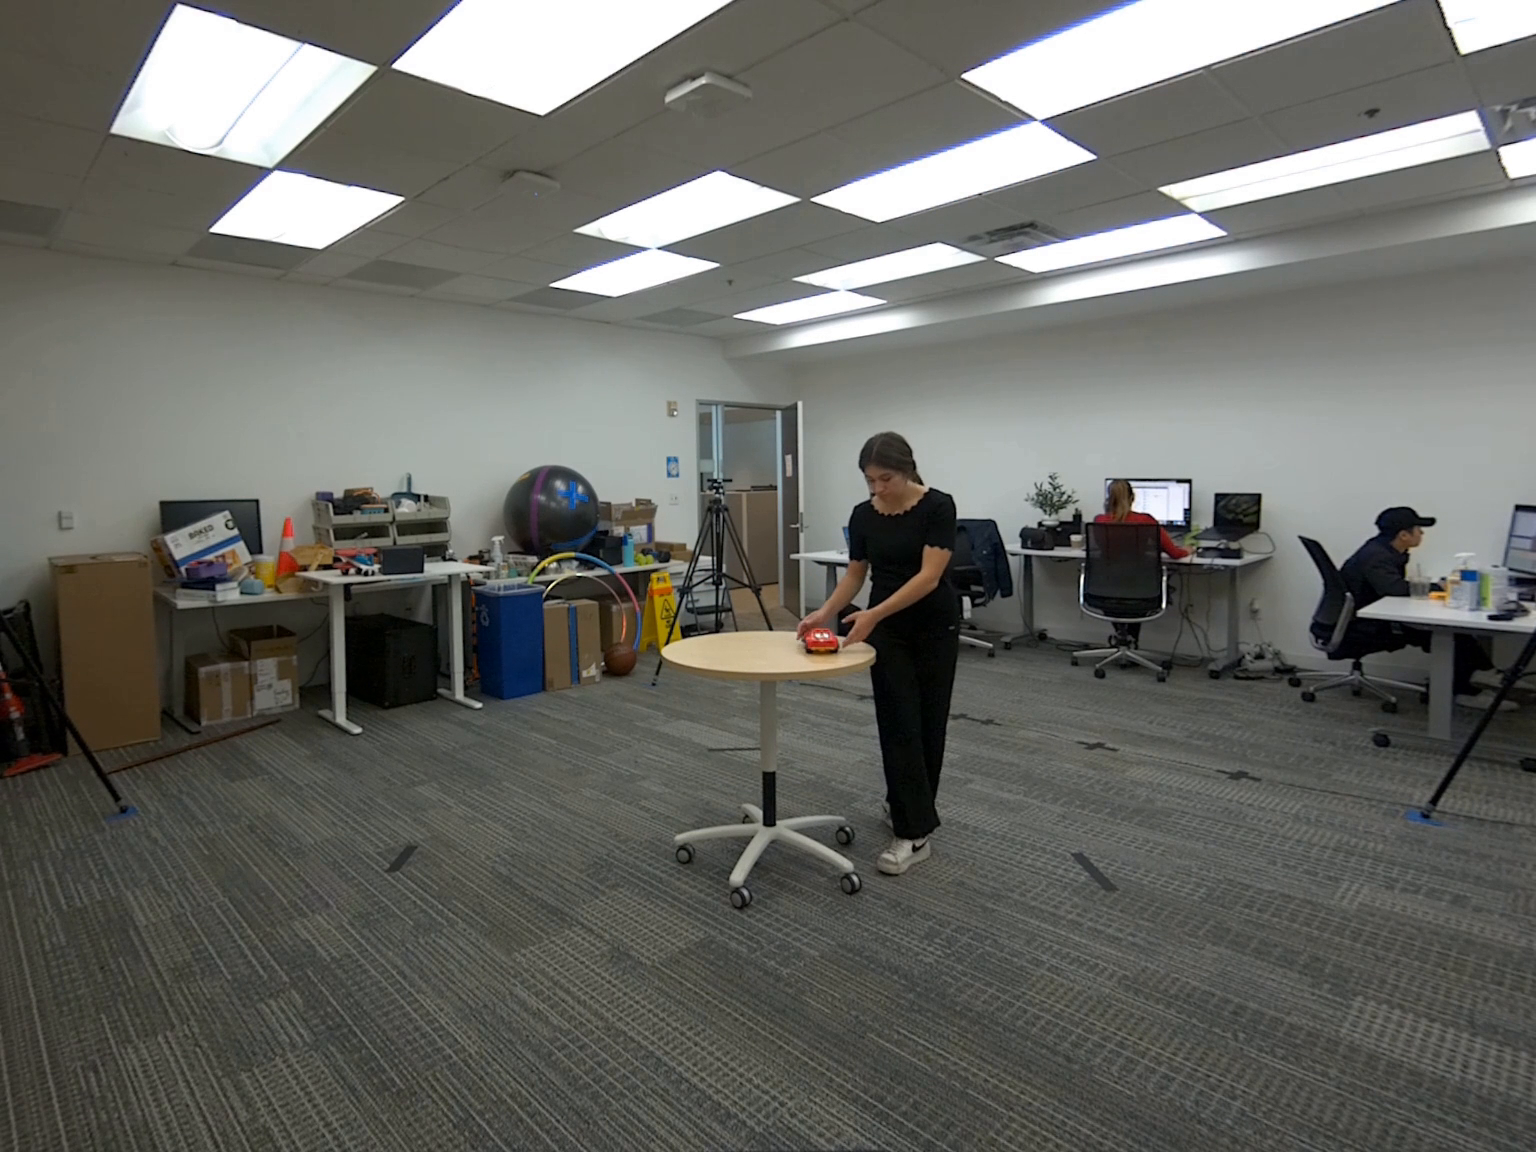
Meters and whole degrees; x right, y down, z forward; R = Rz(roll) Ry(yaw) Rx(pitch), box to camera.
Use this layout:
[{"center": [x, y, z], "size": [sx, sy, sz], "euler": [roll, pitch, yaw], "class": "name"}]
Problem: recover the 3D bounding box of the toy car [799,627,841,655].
[{"center": [0.187, 0.234, 3.047], "size": [0.130, 0.084, 0.253], "euler": [1, -5, 0], "class": "toy car"}]
